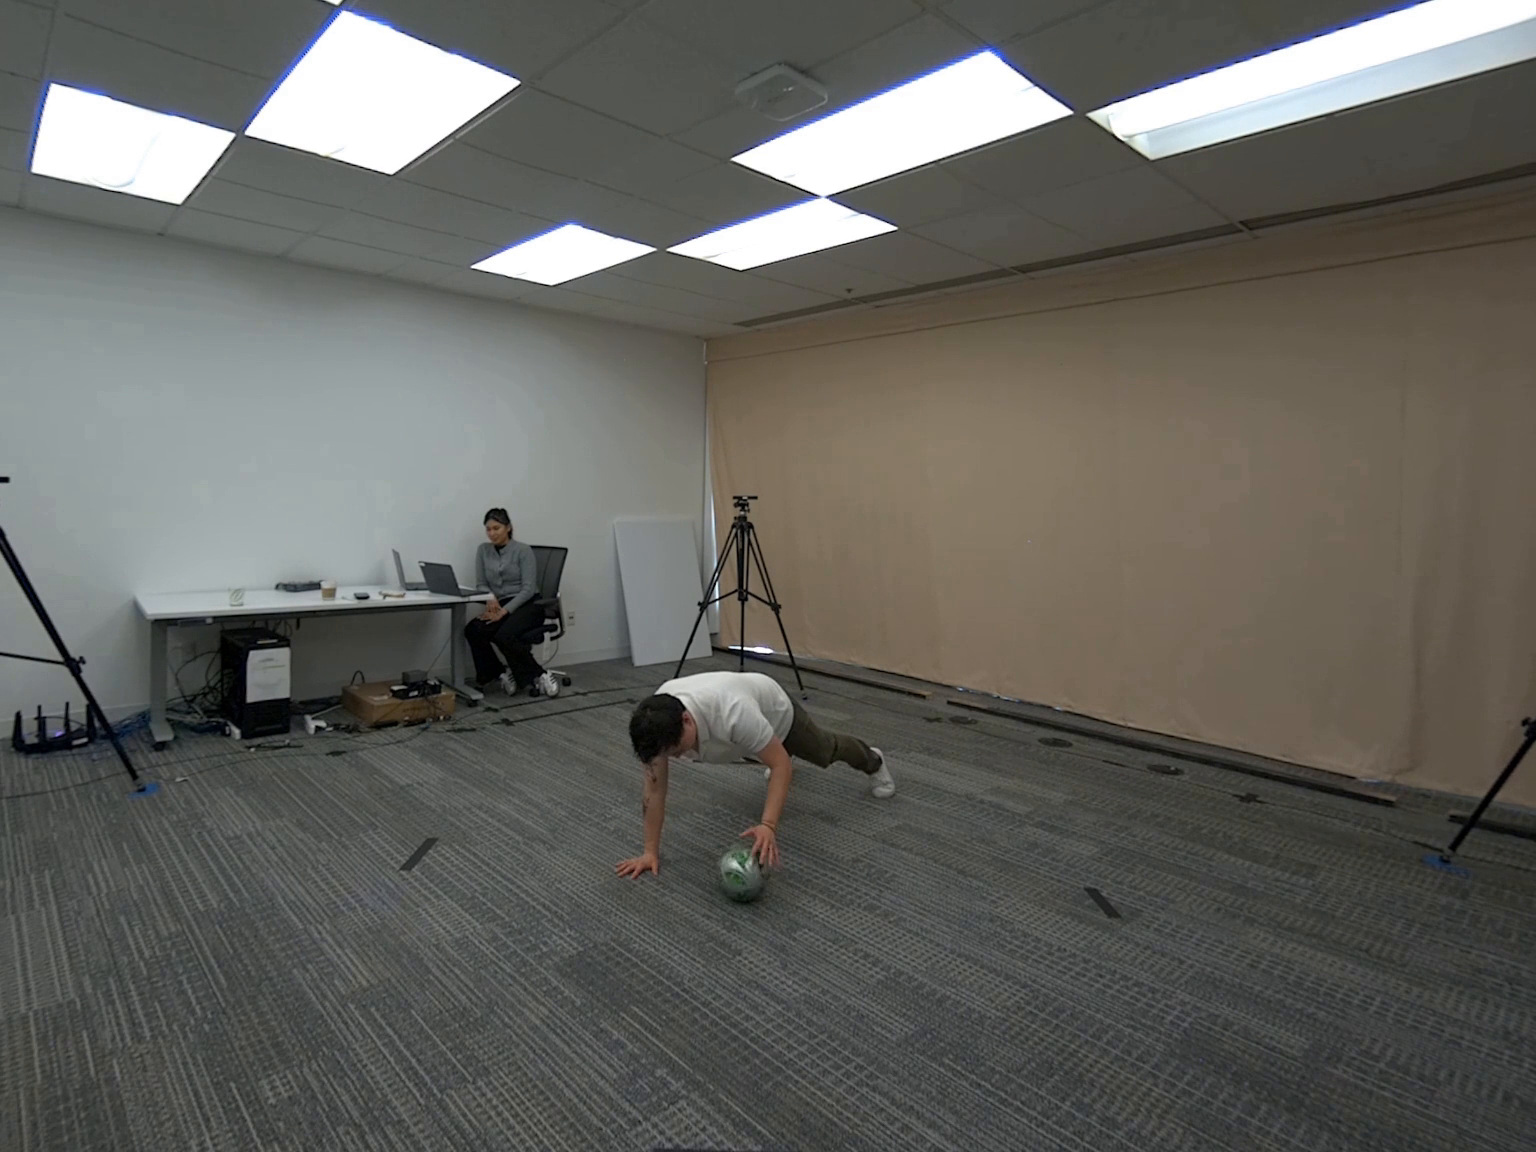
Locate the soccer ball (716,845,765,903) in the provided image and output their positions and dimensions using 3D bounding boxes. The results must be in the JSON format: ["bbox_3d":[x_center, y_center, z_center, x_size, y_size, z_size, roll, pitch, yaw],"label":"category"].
[{"bbox_3d":[-0.113,1.028,2.922,0.187,0.187,0.188,1,4,-1],"label":"soccer ball"}]
